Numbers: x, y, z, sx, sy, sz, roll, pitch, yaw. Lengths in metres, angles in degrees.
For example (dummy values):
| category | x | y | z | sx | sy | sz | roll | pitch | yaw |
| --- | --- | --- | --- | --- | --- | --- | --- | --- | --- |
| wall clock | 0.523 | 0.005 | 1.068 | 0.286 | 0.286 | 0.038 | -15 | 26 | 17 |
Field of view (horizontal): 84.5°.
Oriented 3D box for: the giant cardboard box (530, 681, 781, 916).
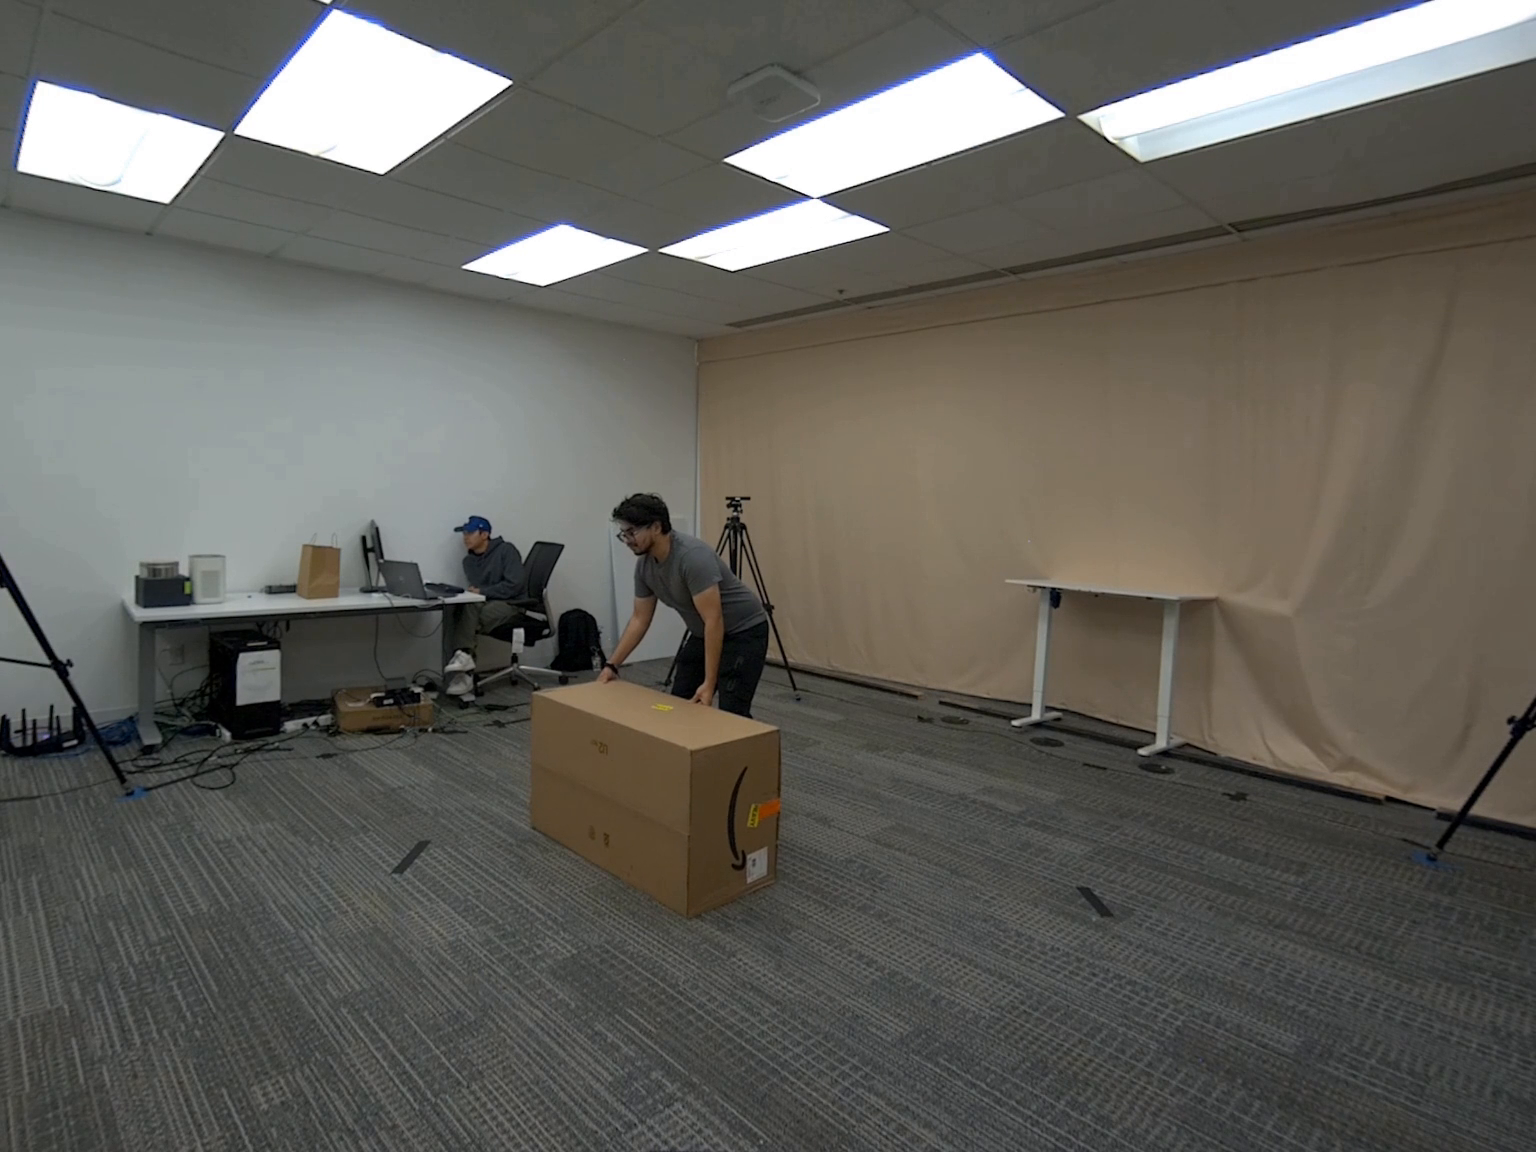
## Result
| category | x | y | z | sx | sy | sz | roll | pitch | yaw |
| --- | --- | --- | --- | --- | --- | --- | --- | --- | --- |
| giant cardboard box | -0.477 | 0.799 | 3.266 | 0.416 | 0.576 | 1.052 | -2 | 6 | -44 |
